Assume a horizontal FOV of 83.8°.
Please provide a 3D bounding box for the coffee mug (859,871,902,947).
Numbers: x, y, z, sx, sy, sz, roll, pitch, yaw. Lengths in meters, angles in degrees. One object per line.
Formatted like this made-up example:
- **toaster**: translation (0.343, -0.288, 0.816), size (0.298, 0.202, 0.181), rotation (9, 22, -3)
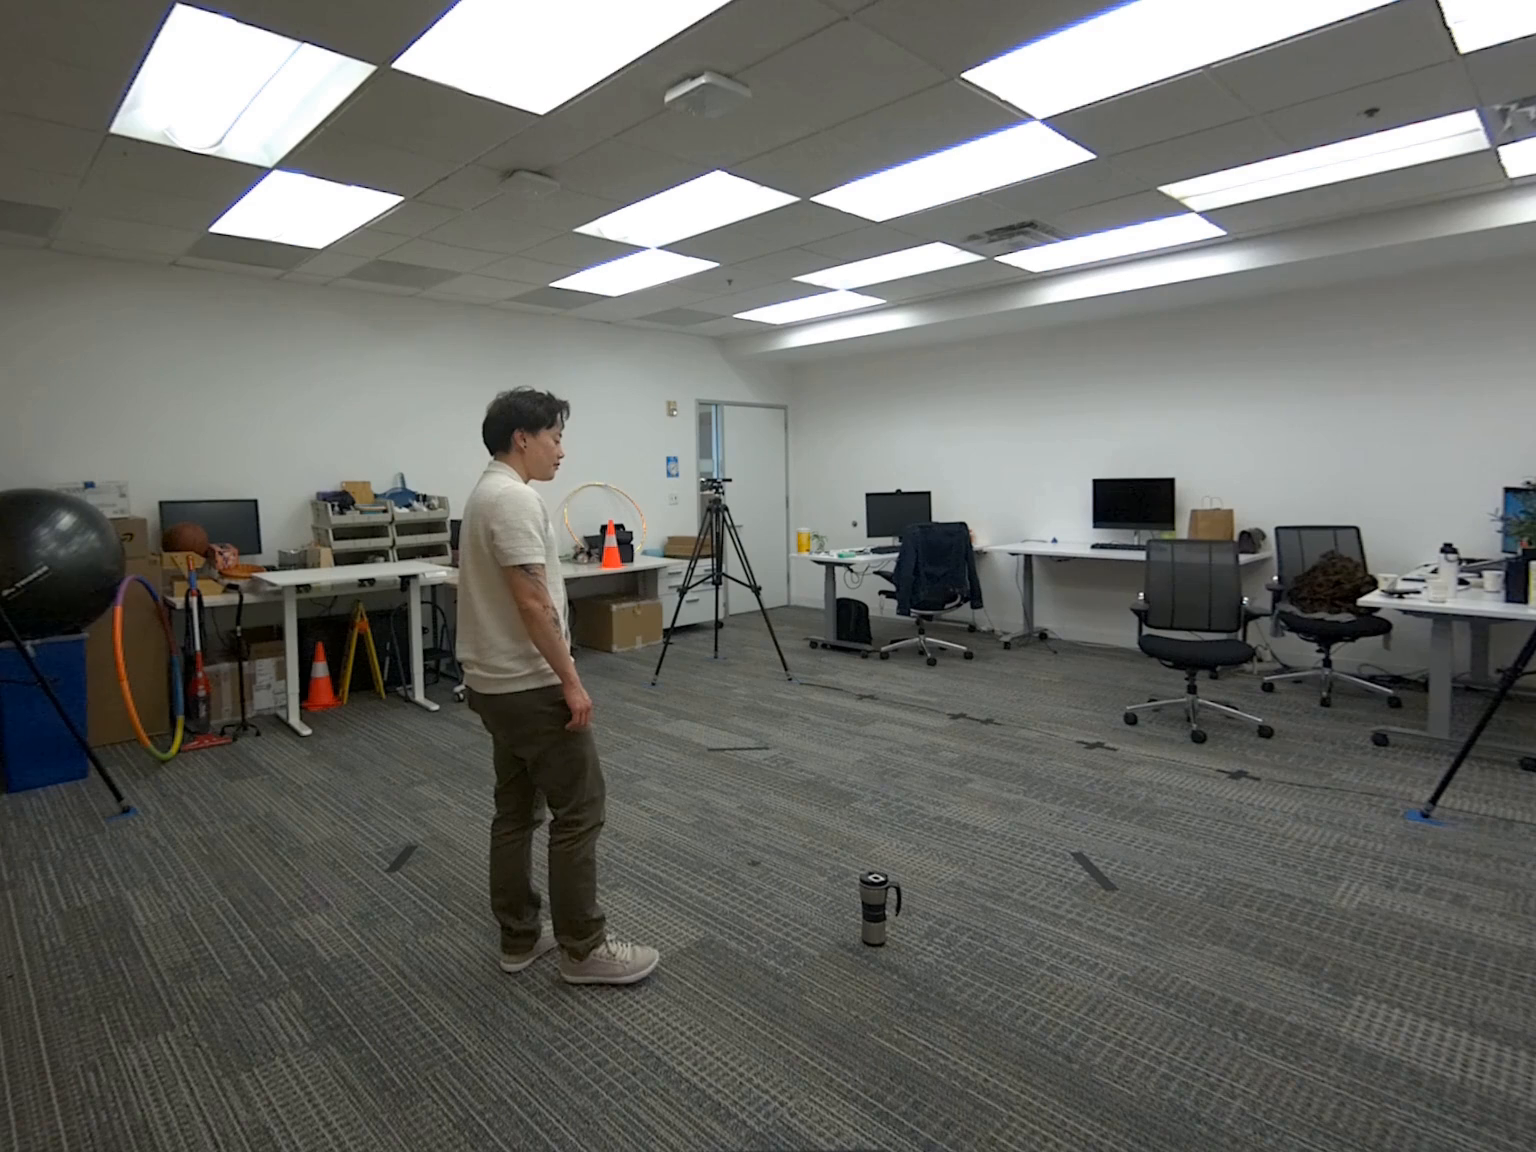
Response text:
- **coffee mug**: translation (0.341, 1.001, 2.548), size (0.125, 0.203, 0.085), rotation (-1, 1, 36)
